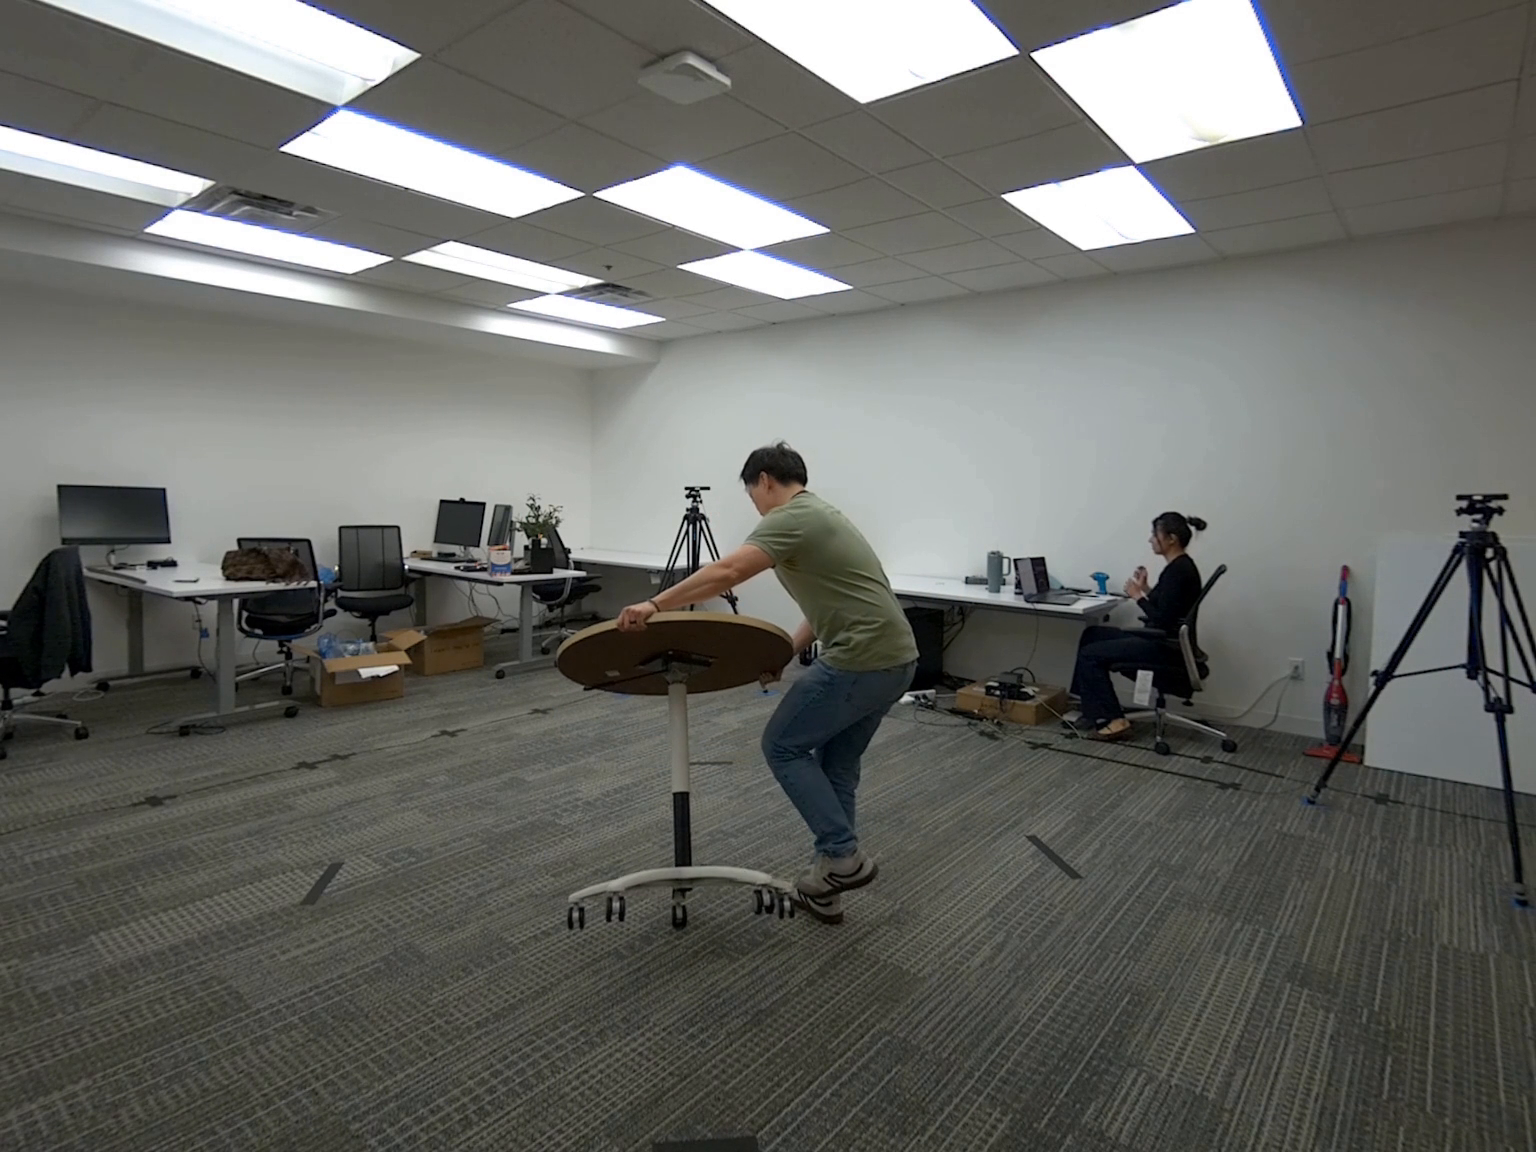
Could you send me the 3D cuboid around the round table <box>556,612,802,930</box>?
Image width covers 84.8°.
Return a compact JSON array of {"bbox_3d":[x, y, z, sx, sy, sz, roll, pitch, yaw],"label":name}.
[{"bbox_3d":[-0.275,0.617,2.586,0.762,0.813,0.748,-3,-25,-3],"label":"round table"}]
